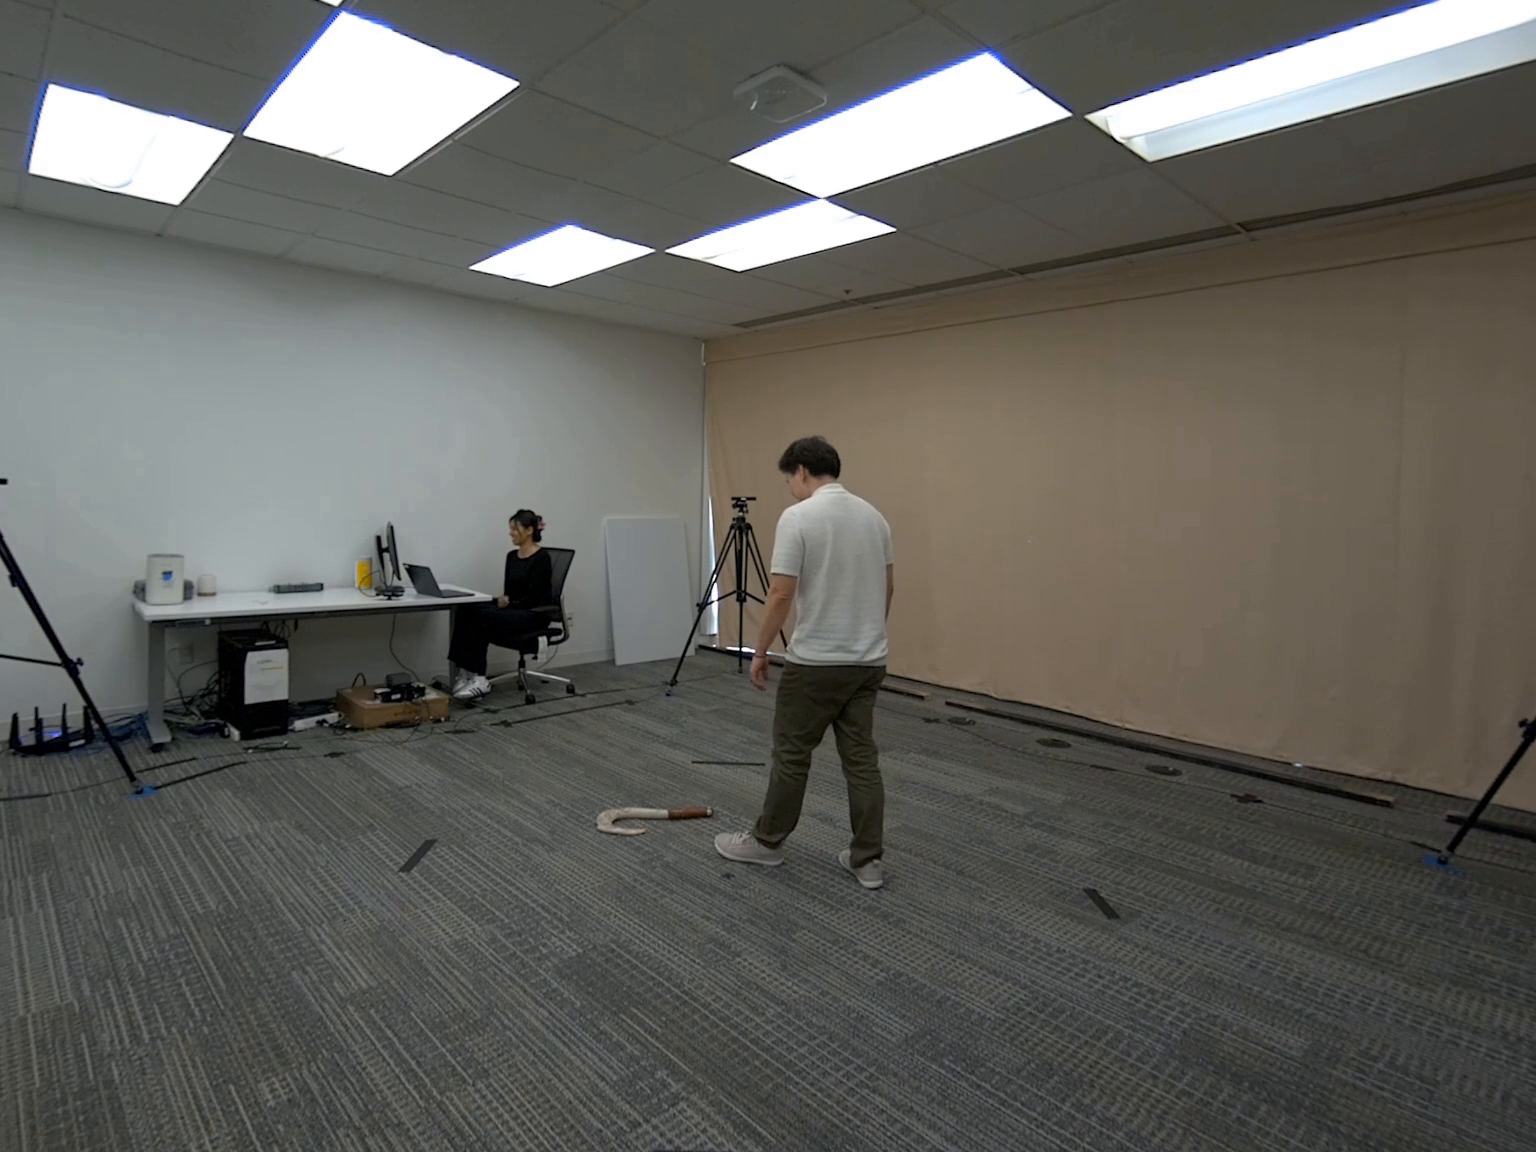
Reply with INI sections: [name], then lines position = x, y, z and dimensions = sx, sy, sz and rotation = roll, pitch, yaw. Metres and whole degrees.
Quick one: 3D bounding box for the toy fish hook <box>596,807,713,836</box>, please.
[toy fish hook]
position = -0.484, 1.041, 3.583
dimensions = 0.501, 0.048, 0.229
rotation = 0, 13, -13
